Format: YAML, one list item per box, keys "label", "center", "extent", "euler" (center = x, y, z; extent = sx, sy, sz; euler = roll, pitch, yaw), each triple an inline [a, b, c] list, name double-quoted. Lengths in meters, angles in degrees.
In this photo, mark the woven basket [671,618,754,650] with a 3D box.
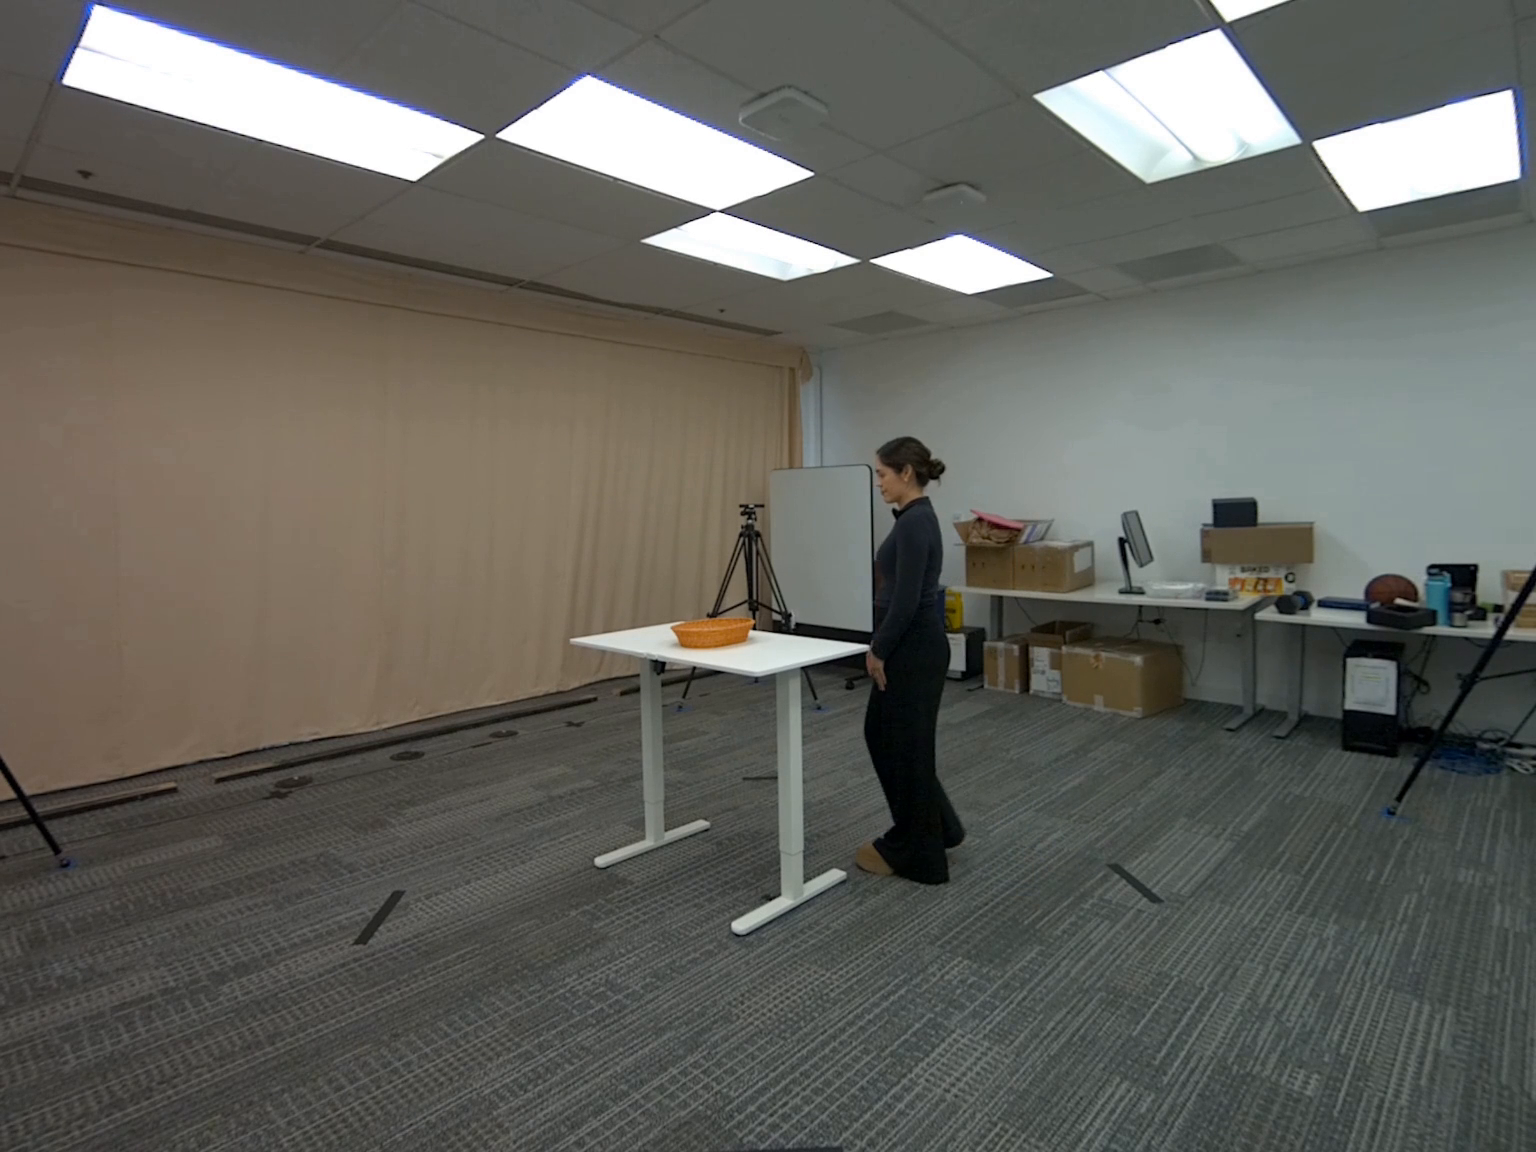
- label: "woven basket"
  center: [-0.204, 0.218, 3.151]
  extent: [0.340, 0.073, 0.261]
  euler: [-7, 7, -42]
